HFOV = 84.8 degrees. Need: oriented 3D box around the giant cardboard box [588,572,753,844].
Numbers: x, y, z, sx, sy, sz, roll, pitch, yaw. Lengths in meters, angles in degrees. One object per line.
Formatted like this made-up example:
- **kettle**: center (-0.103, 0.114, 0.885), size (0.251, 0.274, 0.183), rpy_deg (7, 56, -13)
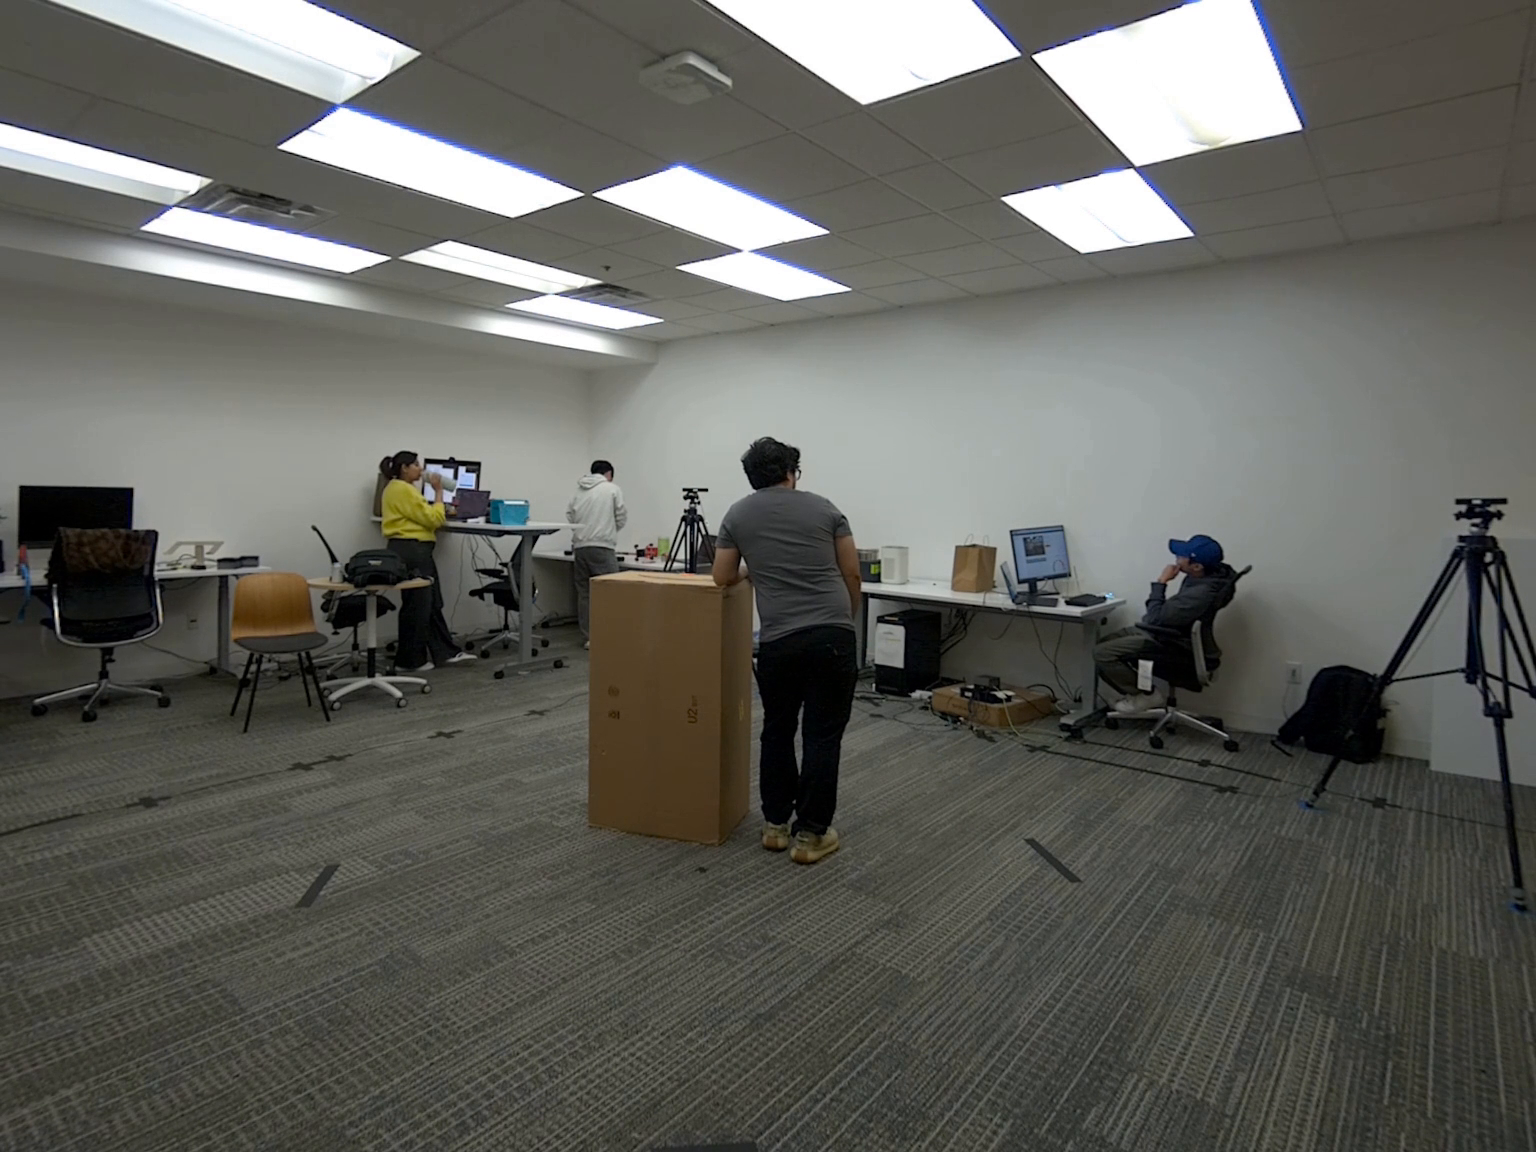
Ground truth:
- **giant cardboard box**: center (-0.417, 0.512, 3.587), size (0.589, 1.023, 0.419), rpy_deg (2, 3, 19)
